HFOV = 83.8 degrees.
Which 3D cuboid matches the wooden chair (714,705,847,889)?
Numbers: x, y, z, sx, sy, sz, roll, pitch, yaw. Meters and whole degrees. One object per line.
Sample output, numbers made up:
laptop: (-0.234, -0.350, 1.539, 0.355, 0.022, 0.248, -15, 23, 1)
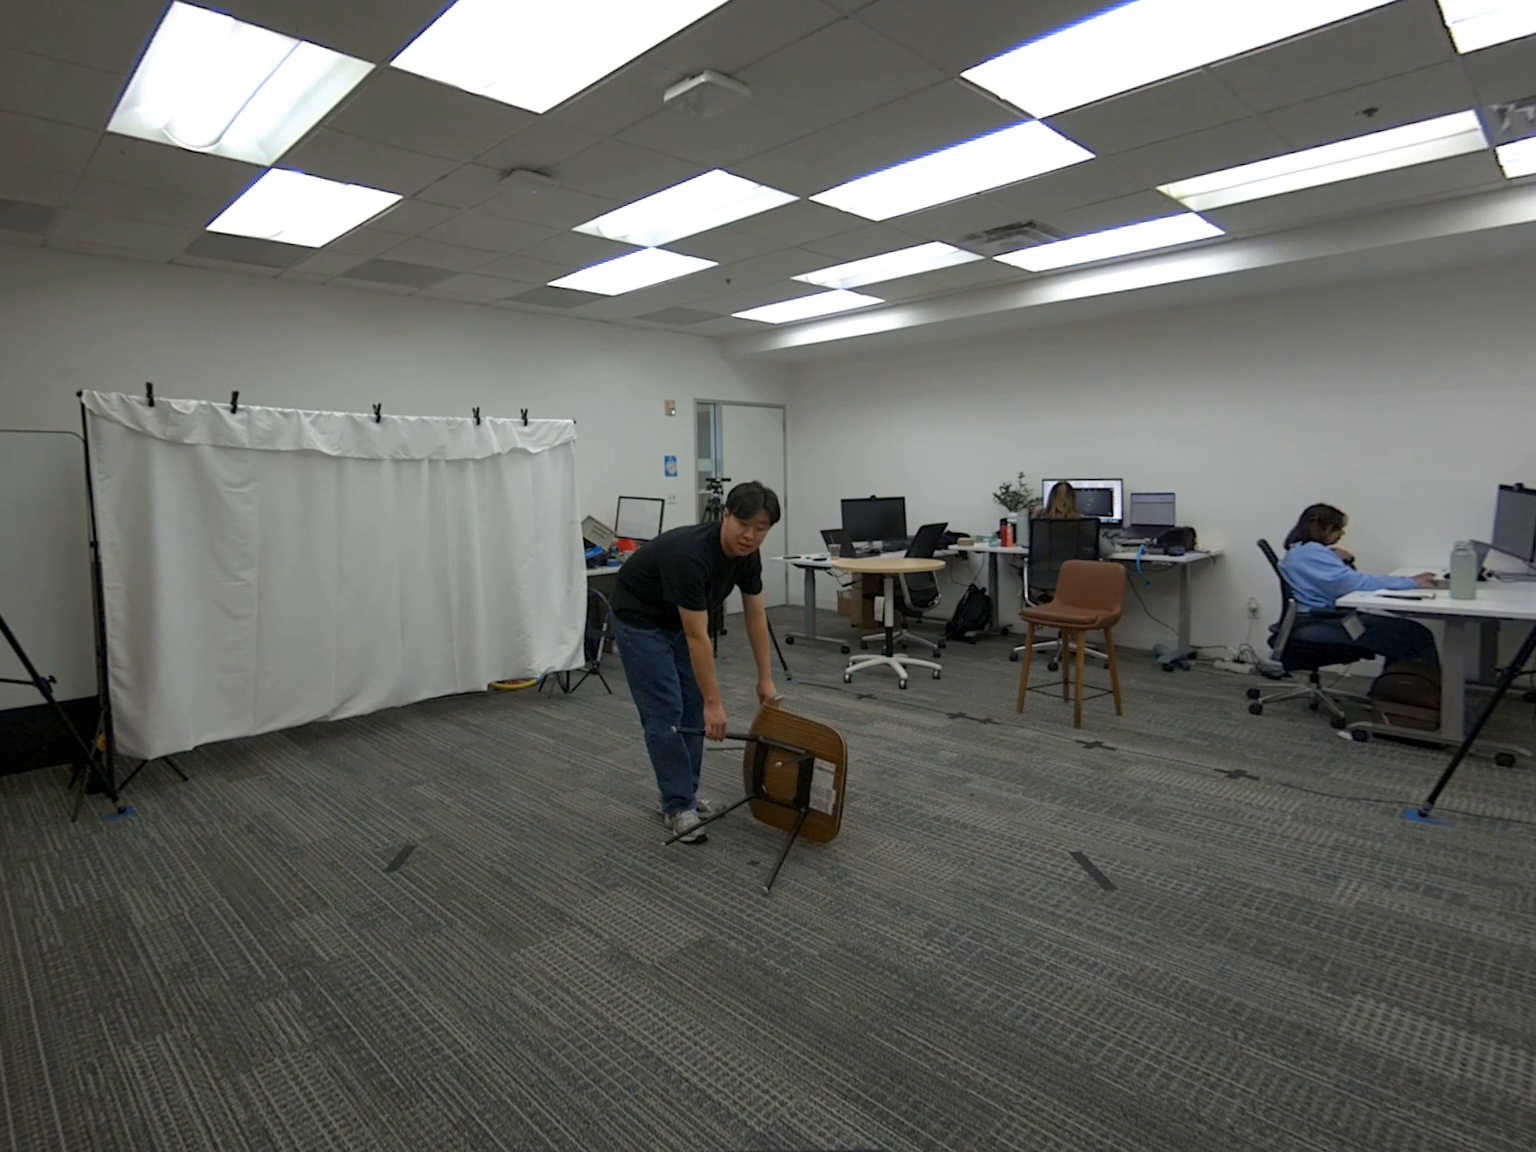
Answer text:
wooden chair: (0.057, 0.774, 3.314, 0.538, 0.475, 0.858, 9, 8, 27)
